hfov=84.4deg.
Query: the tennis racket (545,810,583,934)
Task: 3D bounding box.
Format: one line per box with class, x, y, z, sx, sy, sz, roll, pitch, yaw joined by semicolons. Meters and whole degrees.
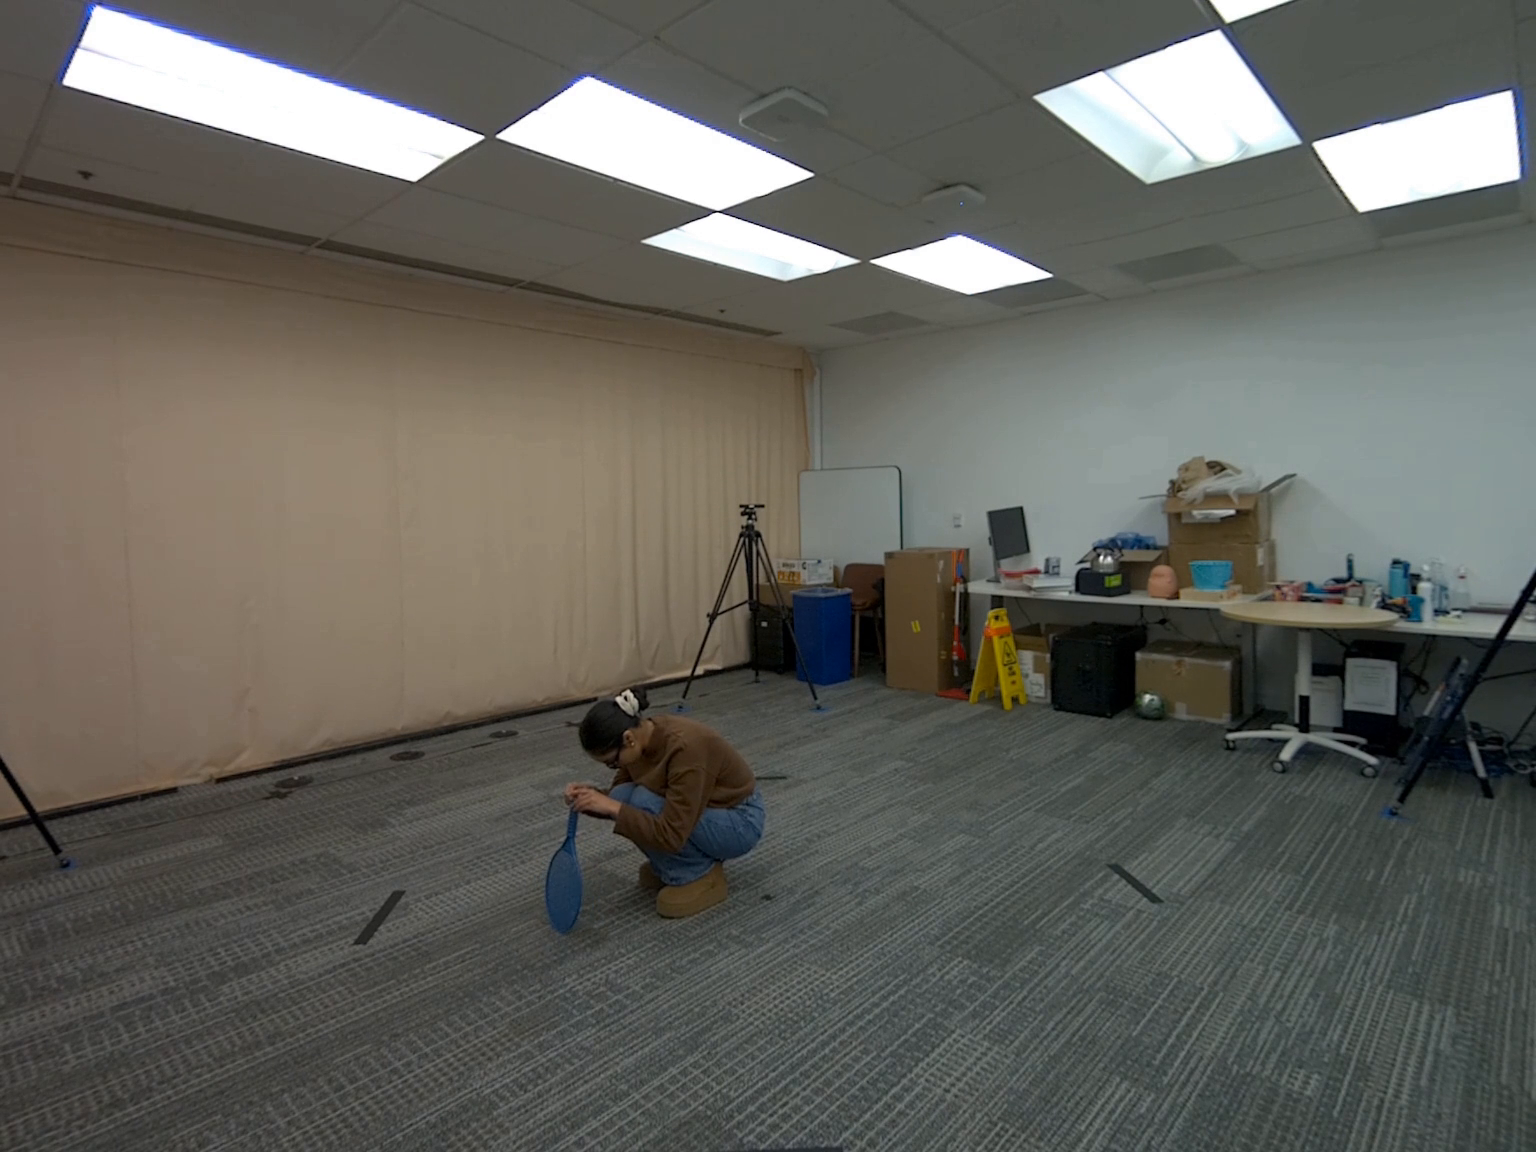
tennis racket;-0.672;0.960;2.800;0.031;0.434;0.221;9;-6;-44
